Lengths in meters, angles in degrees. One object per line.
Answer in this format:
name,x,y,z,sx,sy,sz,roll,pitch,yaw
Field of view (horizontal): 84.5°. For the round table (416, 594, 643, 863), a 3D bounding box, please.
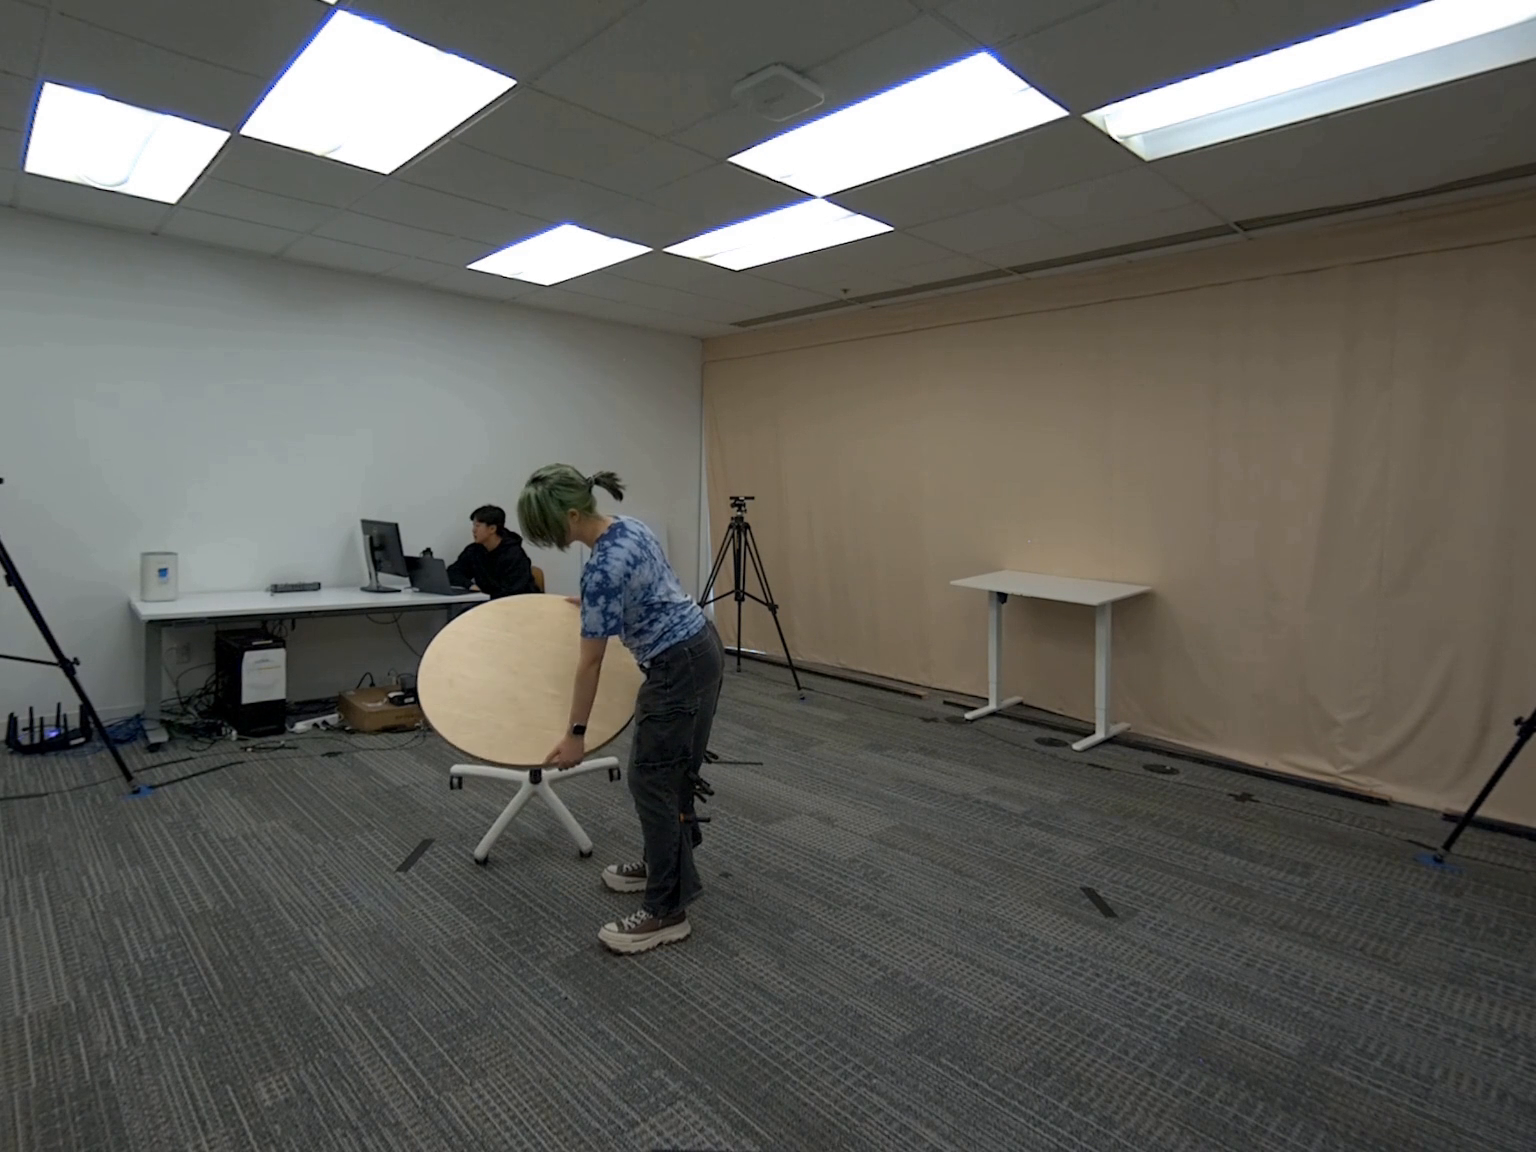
round table,-0.884,0.618,3.162,0.760,0.781,0.781,6,40,-7
